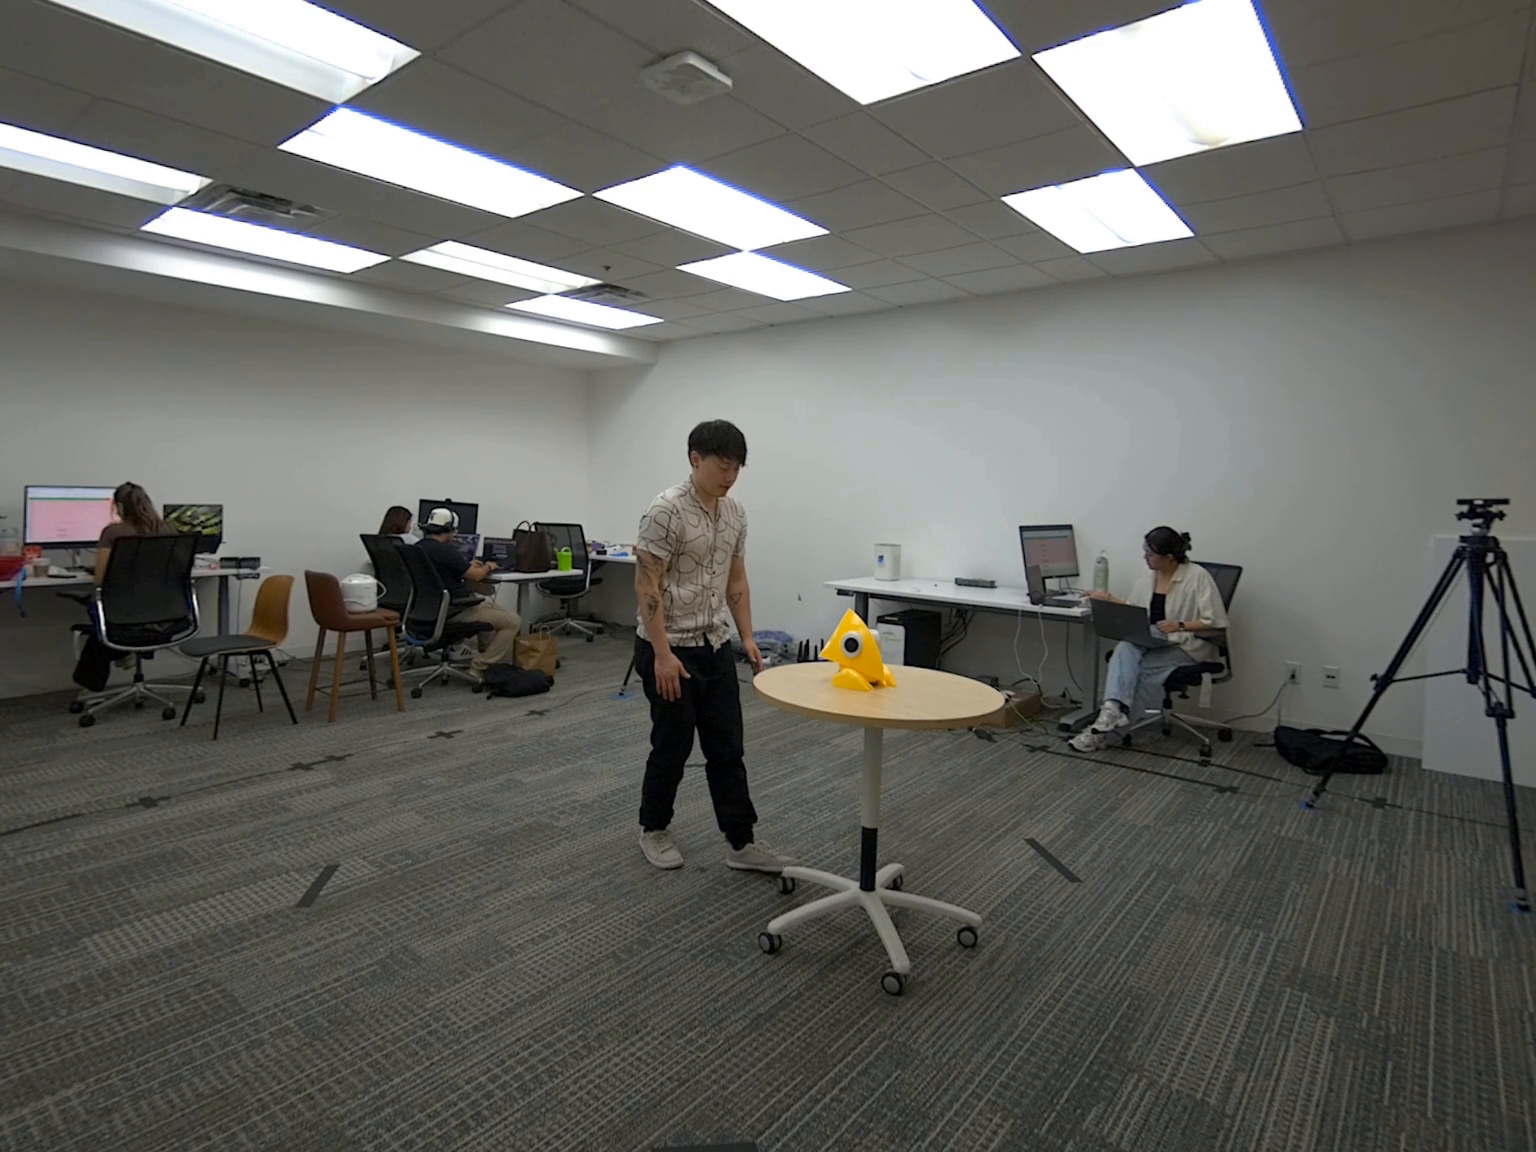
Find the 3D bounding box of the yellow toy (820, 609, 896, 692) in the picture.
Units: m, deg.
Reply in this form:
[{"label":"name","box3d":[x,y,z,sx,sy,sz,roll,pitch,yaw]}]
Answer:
[{"label":"yellow toy","box3d":[0.292,0.225,2.689,0.198,0.230,0.200,-1,5,-42]}]
